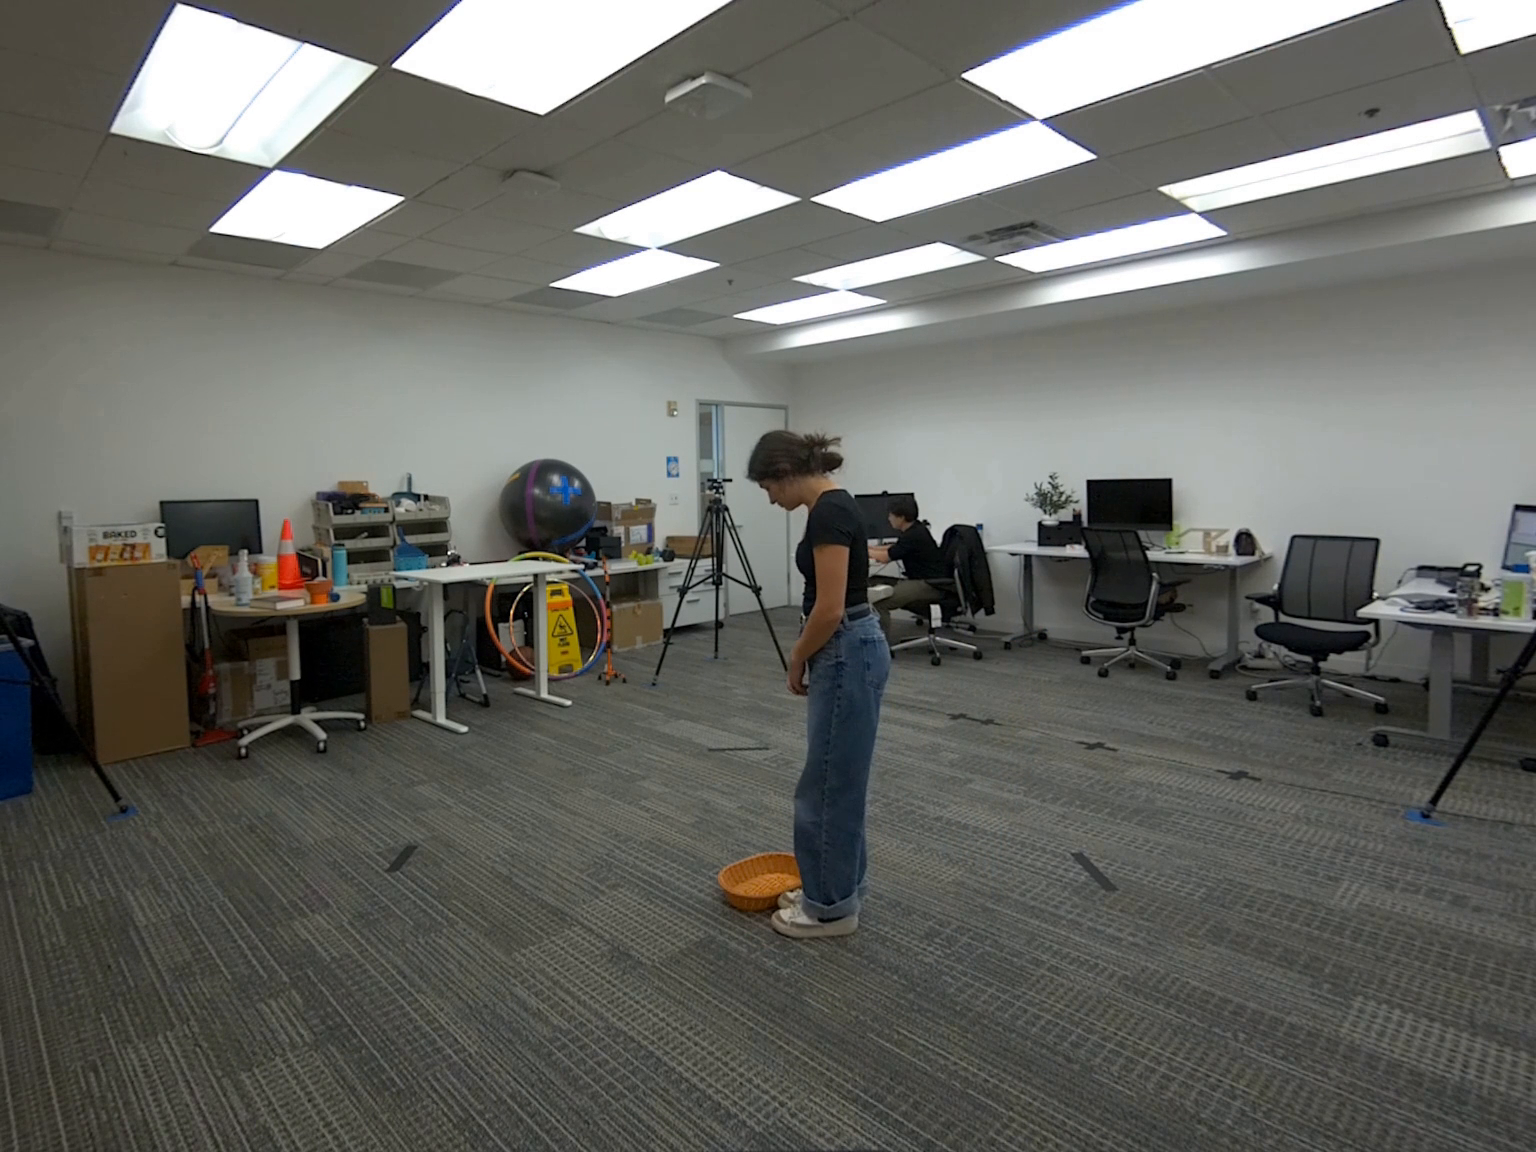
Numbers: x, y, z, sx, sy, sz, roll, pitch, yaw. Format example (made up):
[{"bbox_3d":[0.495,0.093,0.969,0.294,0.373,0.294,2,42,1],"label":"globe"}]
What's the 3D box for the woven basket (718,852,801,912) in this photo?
[{"bbox_3d":[-0.002,1.029,2.878,0.341,0.073,0.260,-5,8,-35],"label":"woven basket"}]
